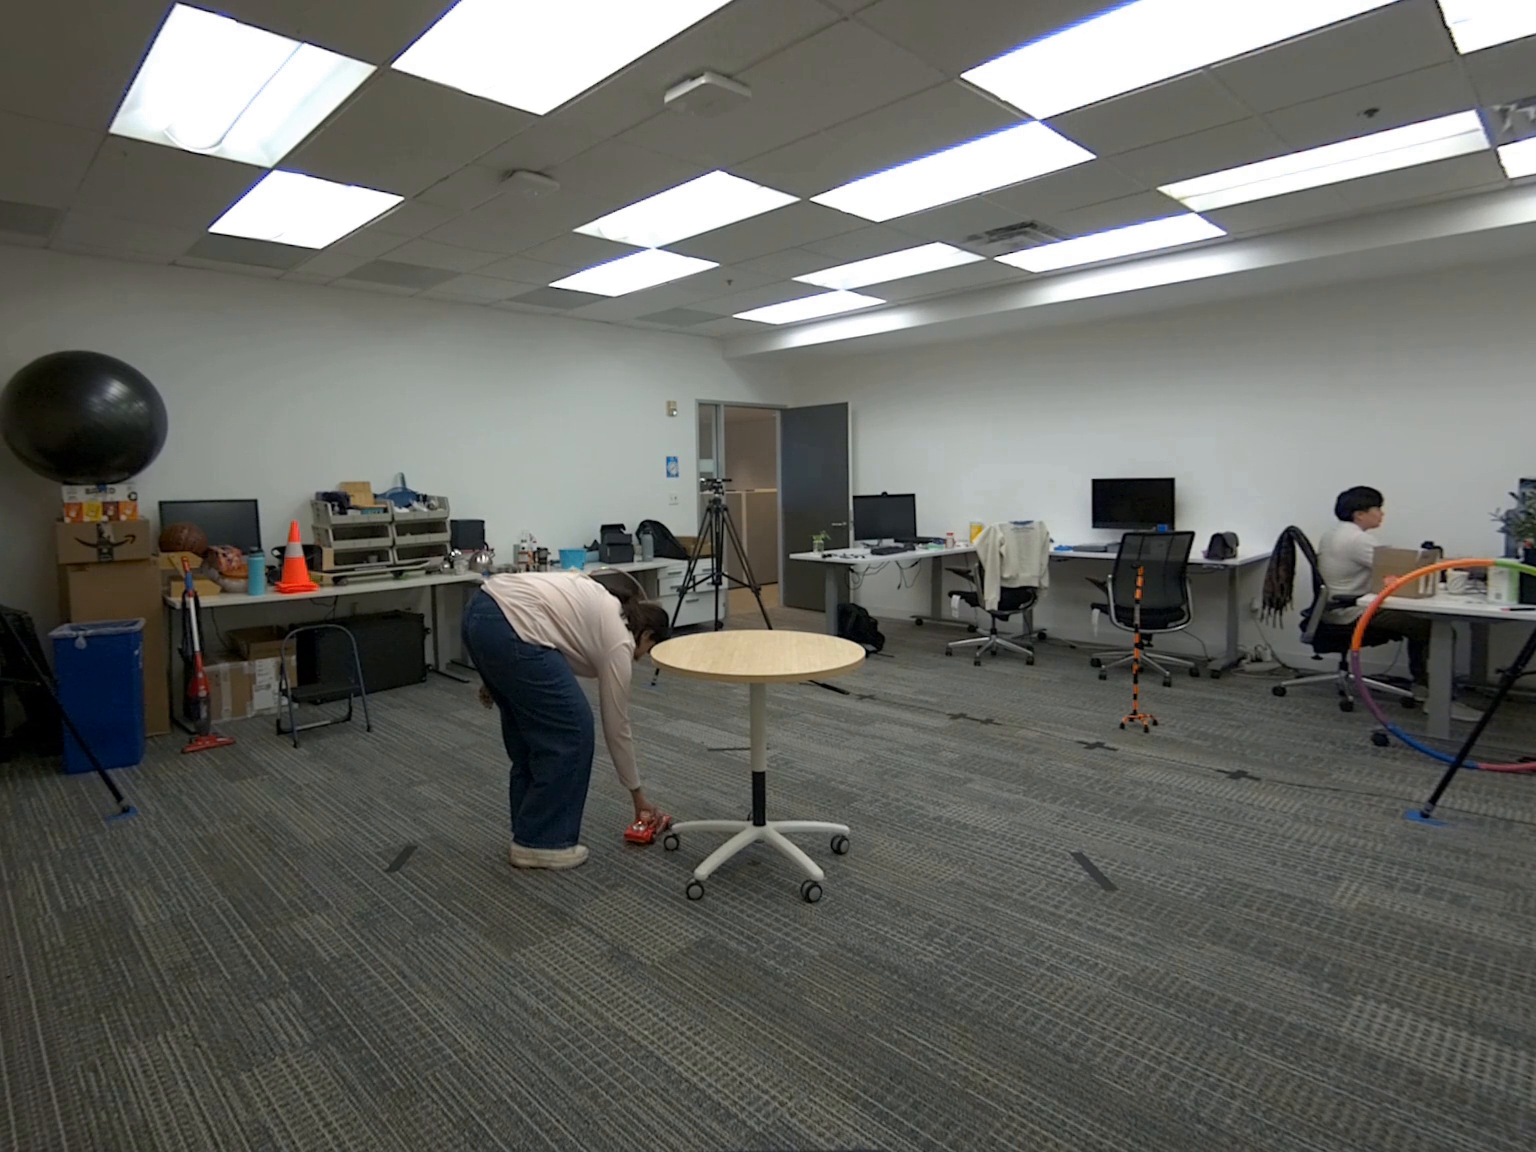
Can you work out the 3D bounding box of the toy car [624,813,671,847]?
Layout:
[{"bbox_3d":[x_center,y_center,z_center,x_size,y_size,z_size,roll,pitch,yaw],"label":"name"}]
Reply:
[{"bbox_3d":[-0.477,0.989,3.351,0.133,0.083,0.248,3,-4,20],"label":"toy car"}]
